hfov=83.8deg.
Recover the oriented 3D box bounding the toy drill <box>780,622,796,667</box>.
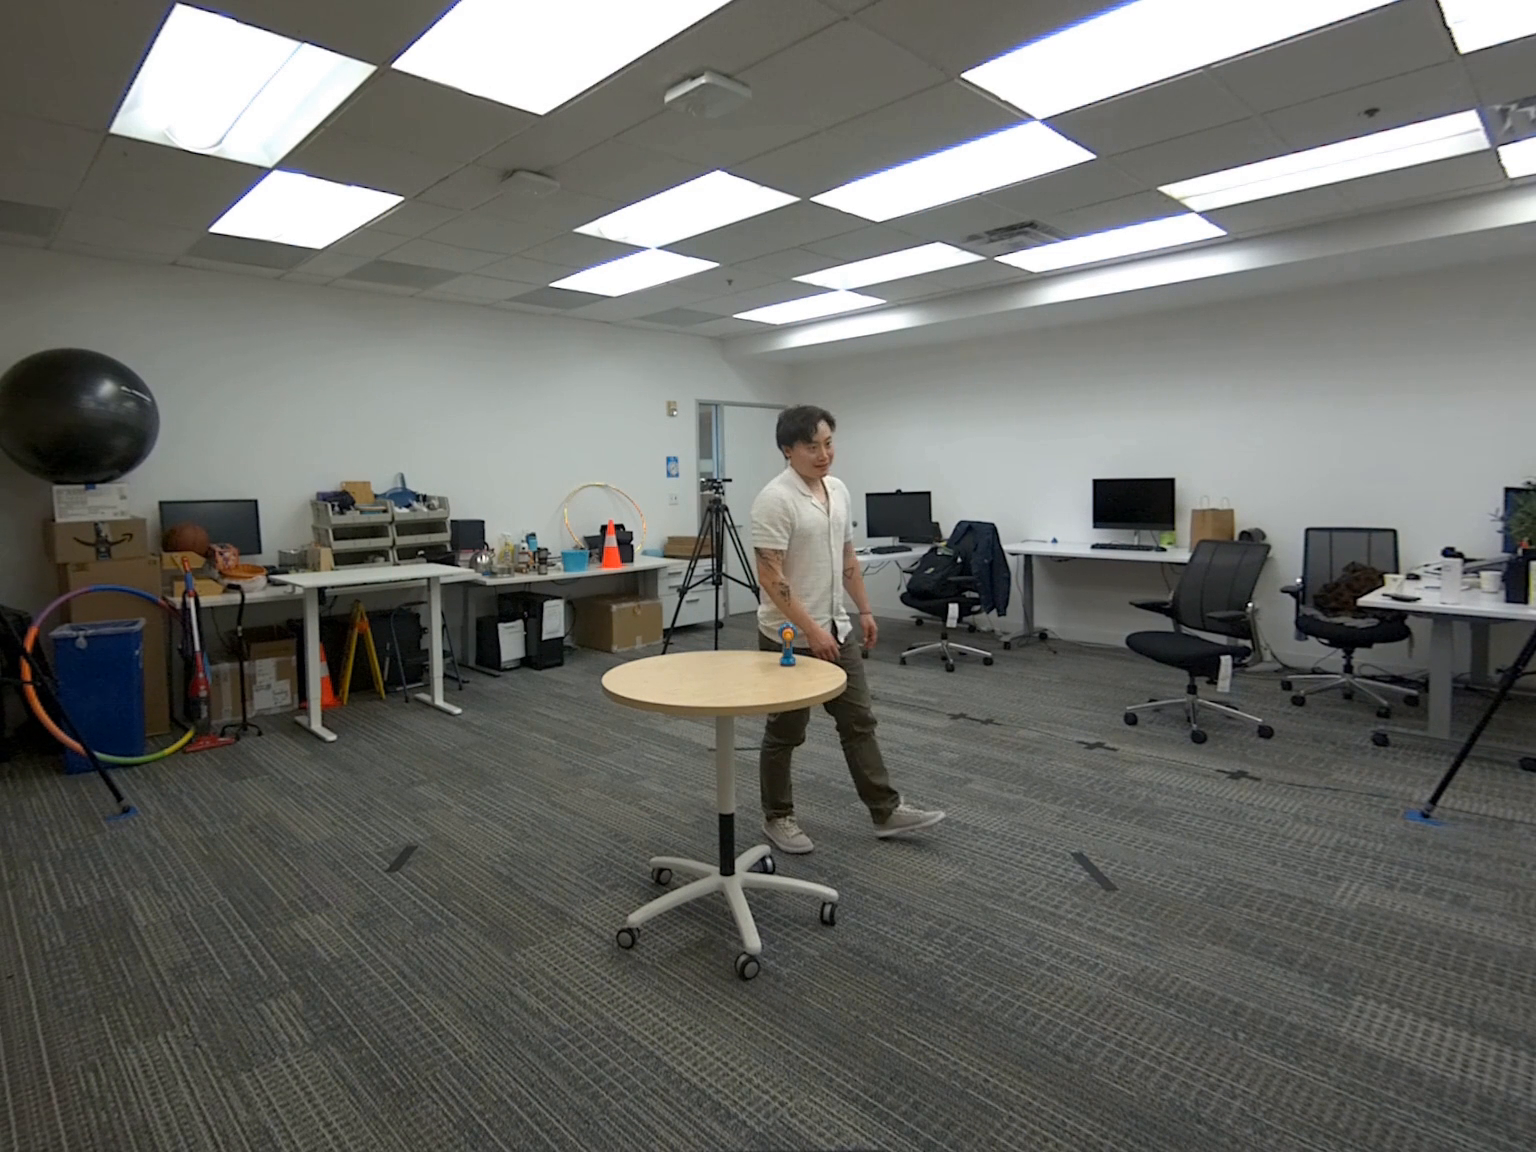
[{"bbox_3d":[0.059,0.222,2.780,0.061,0.145,0.170,1,6,0],"label":"toy drill"}]
